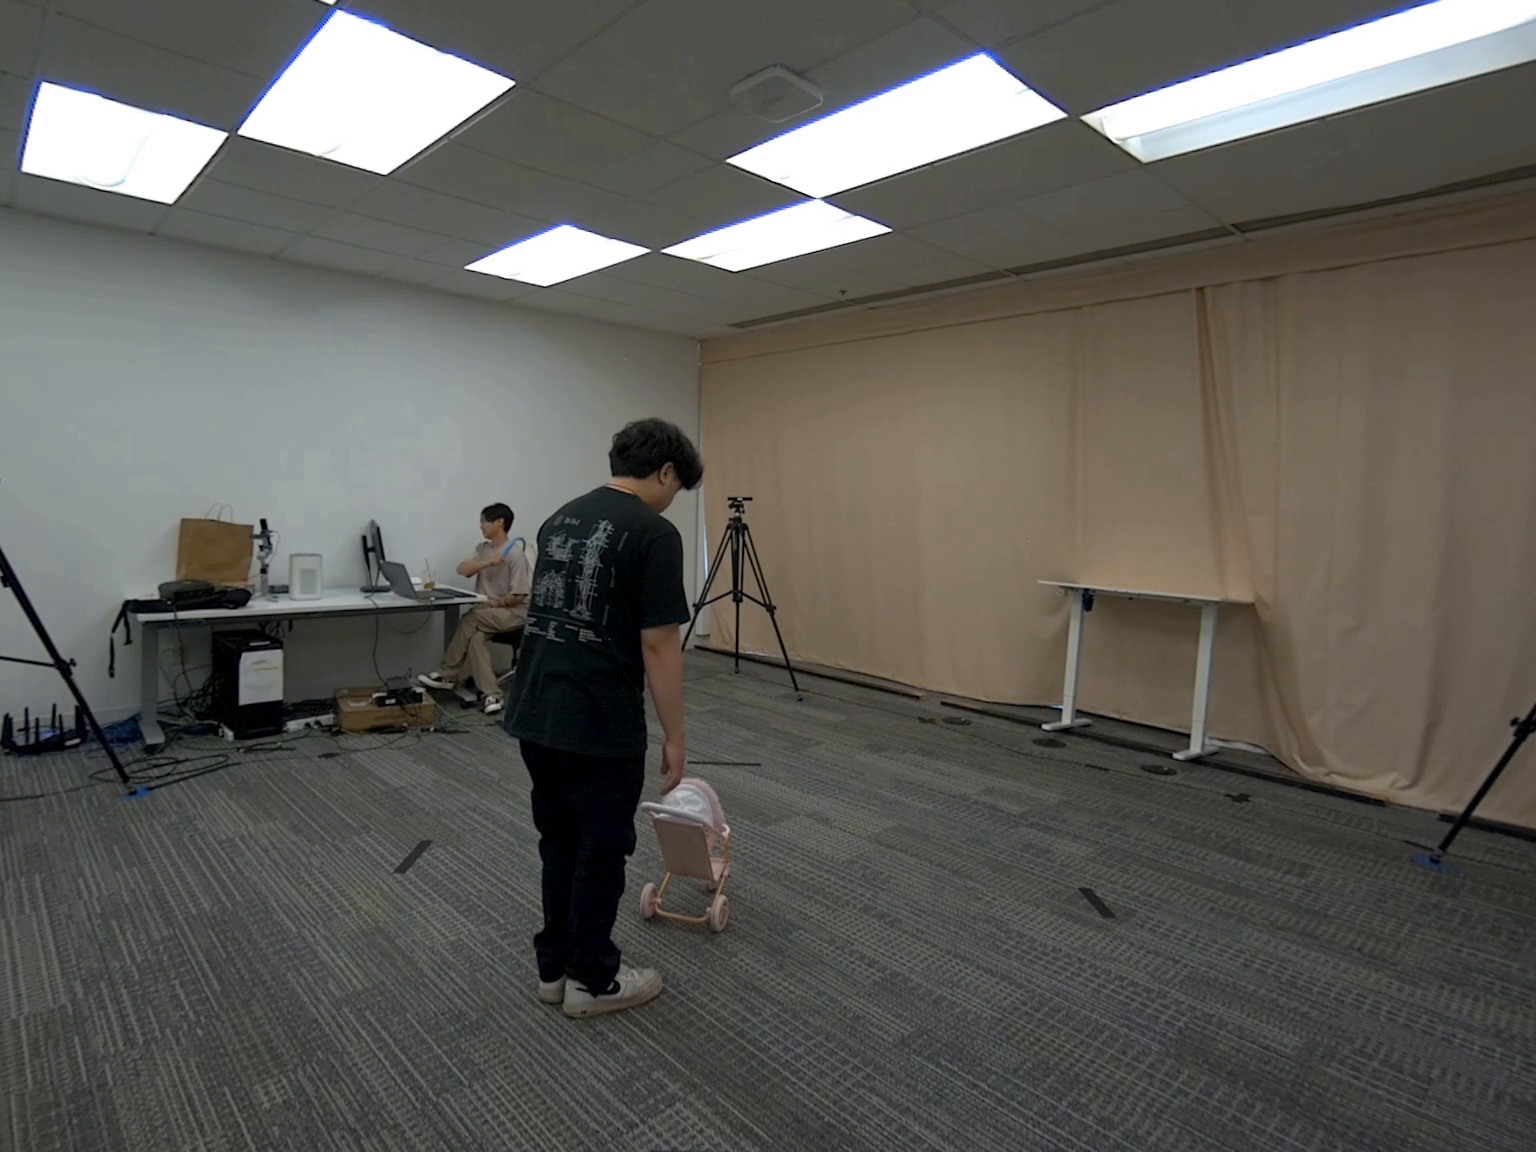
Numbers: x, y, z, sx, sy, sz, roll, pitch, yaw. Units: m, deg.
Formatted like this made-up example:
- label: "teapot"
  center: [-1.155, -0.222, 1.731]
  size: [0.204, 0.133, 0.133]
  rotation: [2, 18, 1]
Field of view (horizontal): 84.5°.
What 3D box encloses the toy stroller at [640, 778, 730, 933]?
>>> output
- label: "toy stroller"
  center: [-0.252, 0.908, 2.801]
  size: [0.286, 0.528, 0.340]
  rotation: [4, 19, 22]
